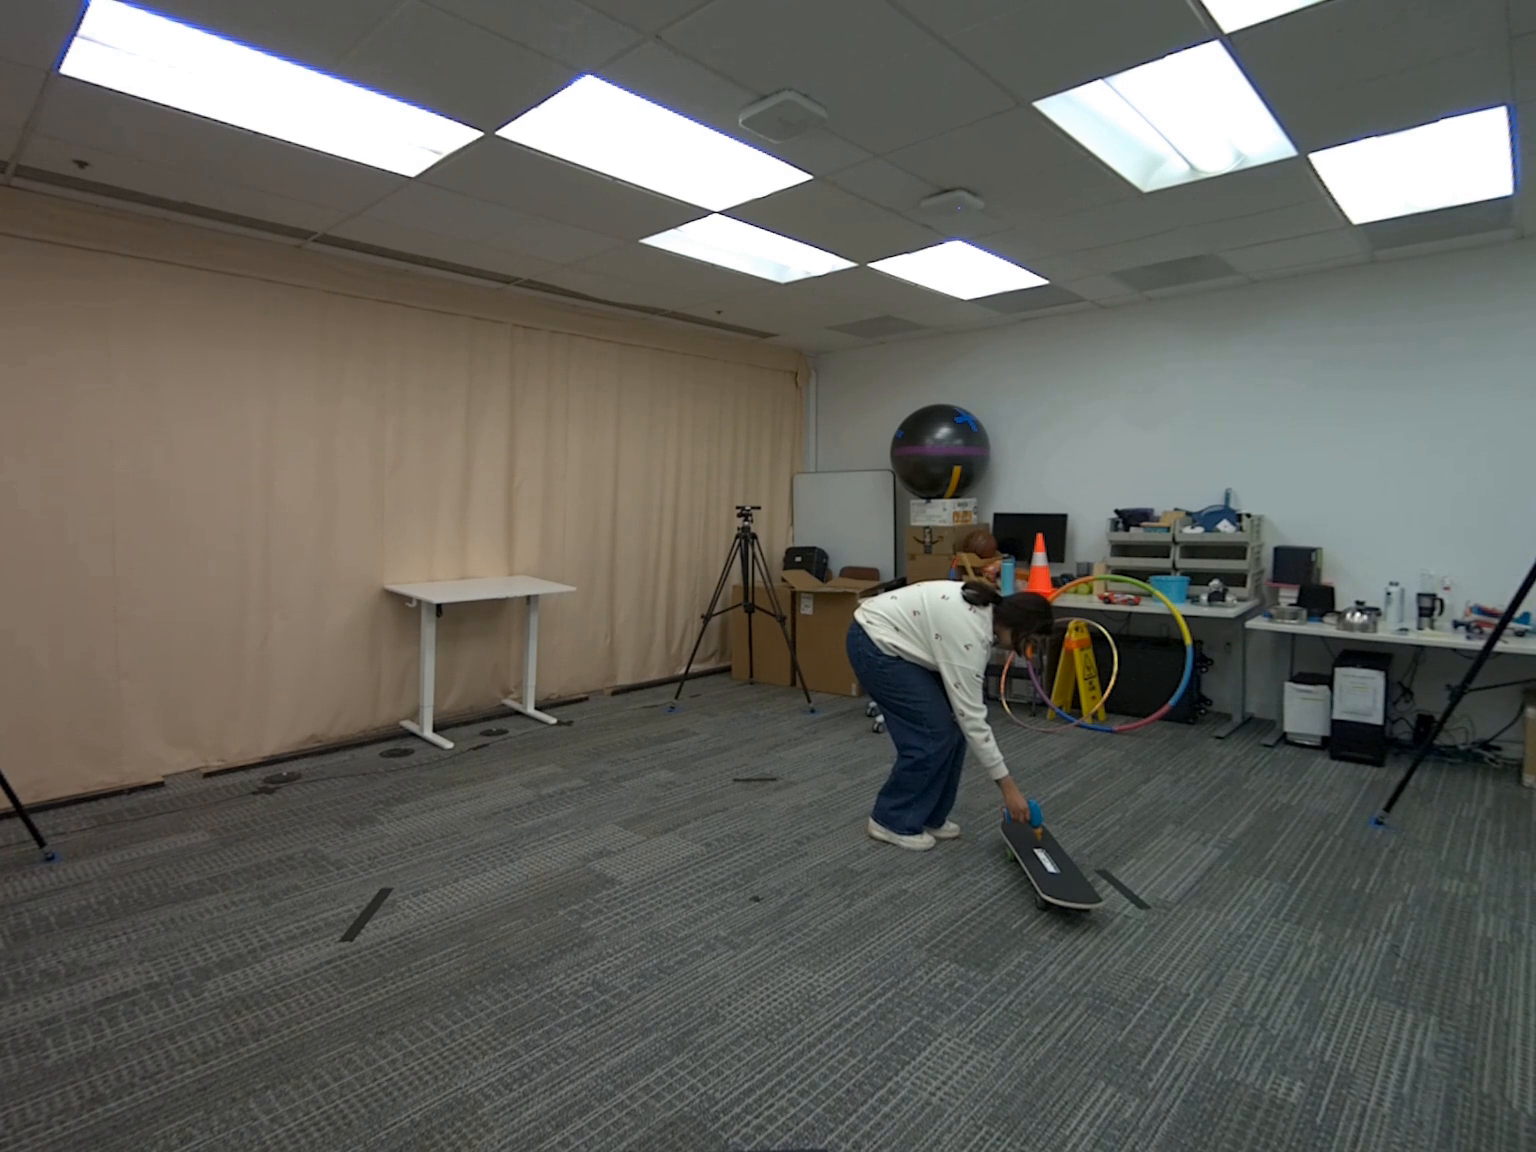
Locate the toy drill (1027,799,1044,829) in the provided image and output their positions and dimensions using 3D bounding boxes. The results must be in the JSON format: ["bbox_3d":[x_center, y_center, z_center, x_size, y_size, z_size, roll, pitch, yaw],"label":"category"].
[{"bbox_3d":[1.004,0.956,3.245,0.148,0.168,0.061,-12,10,12],"label":"toy drill"}]
